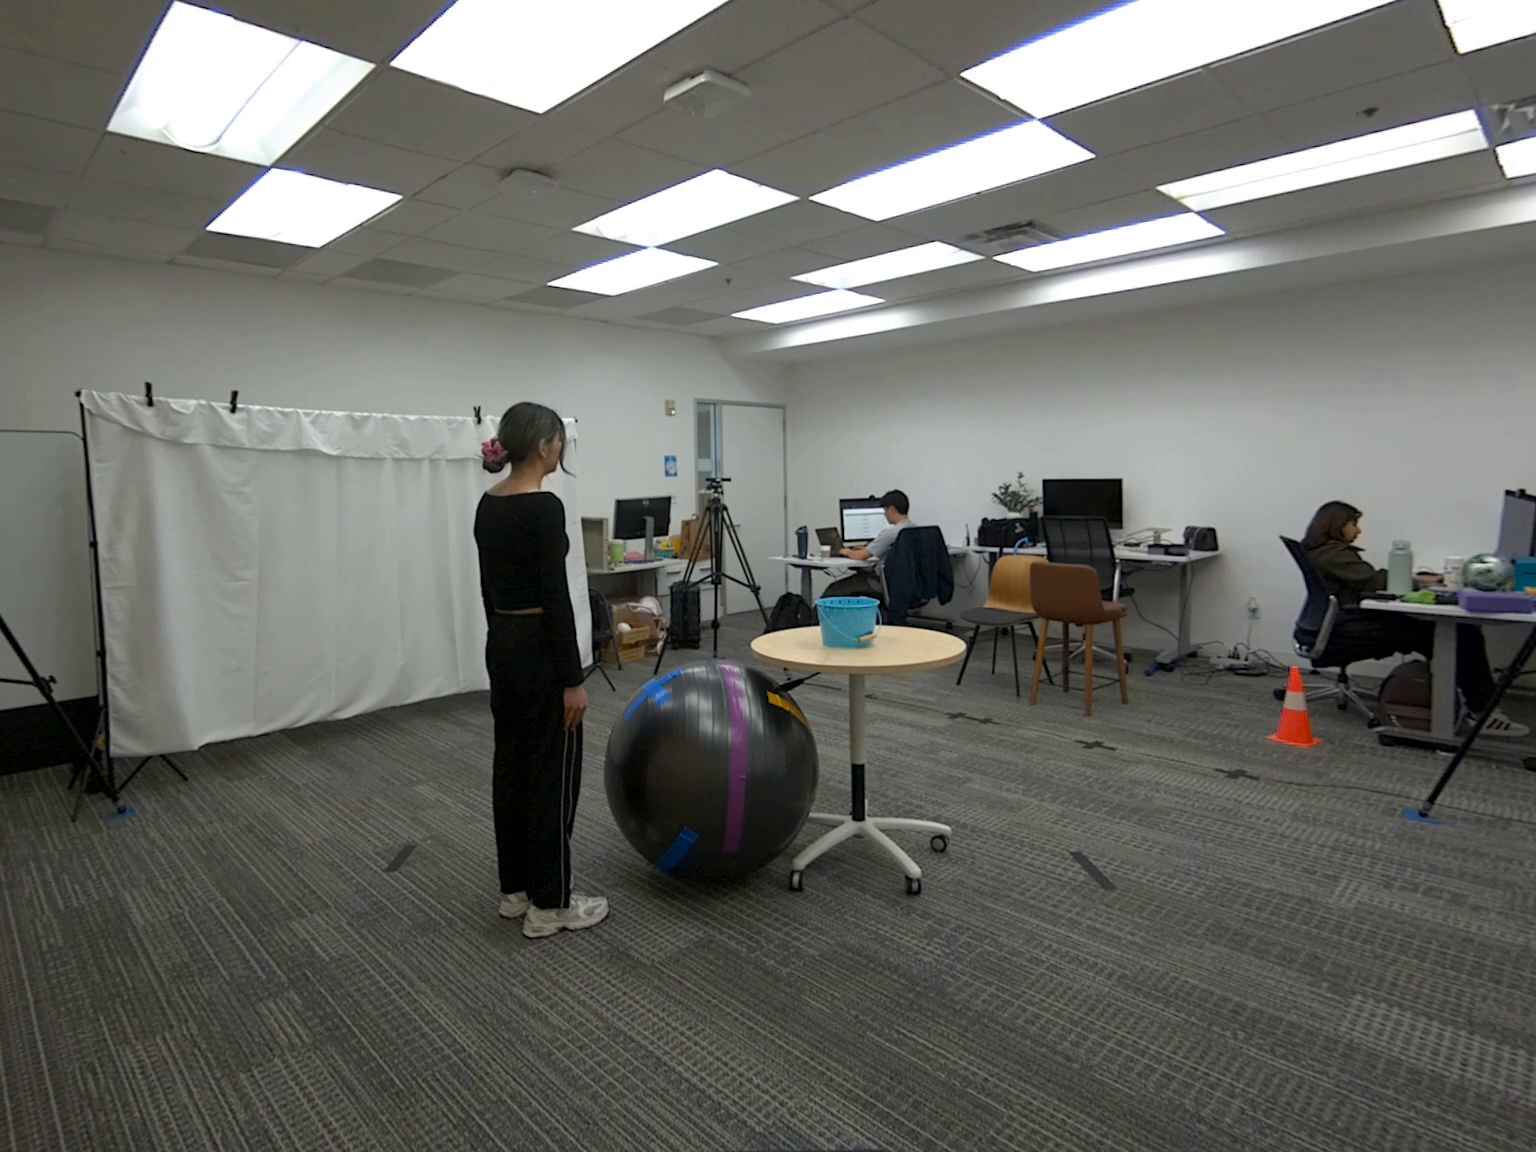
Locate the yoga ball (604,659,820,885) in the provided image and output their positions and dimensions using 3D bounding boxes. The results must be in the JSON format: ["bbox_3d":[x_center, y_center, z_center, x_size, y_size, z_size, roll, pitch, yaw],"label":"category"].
[{"bbox_3d":[-0.210,0.689,3.033,0.757,0.755,0.762,-1,5,-2],"label":"yoga ball"}]
